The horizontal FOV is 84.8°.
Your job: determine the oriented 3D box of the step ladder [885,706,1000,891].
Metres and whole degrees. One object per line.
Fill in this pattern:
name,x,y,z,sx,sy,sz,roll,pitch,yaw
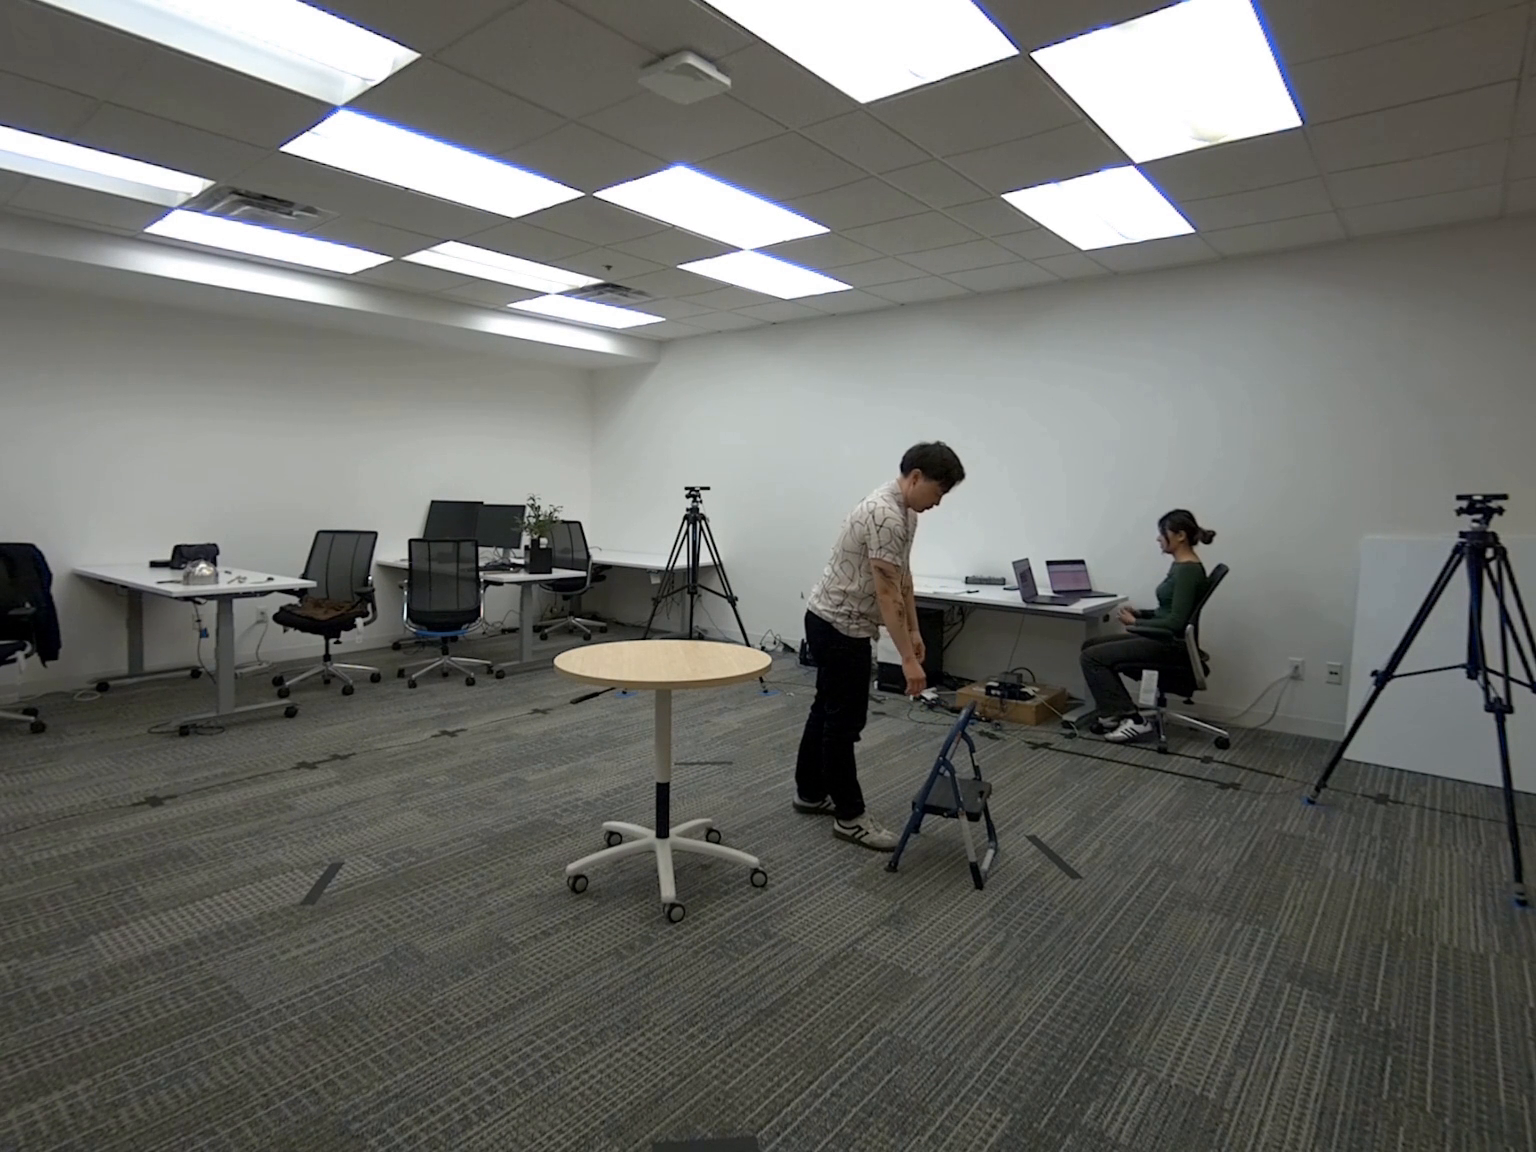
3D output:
step ladder,0.676,0.770,3.218,0.358,0.604,0.421,3,4,23
